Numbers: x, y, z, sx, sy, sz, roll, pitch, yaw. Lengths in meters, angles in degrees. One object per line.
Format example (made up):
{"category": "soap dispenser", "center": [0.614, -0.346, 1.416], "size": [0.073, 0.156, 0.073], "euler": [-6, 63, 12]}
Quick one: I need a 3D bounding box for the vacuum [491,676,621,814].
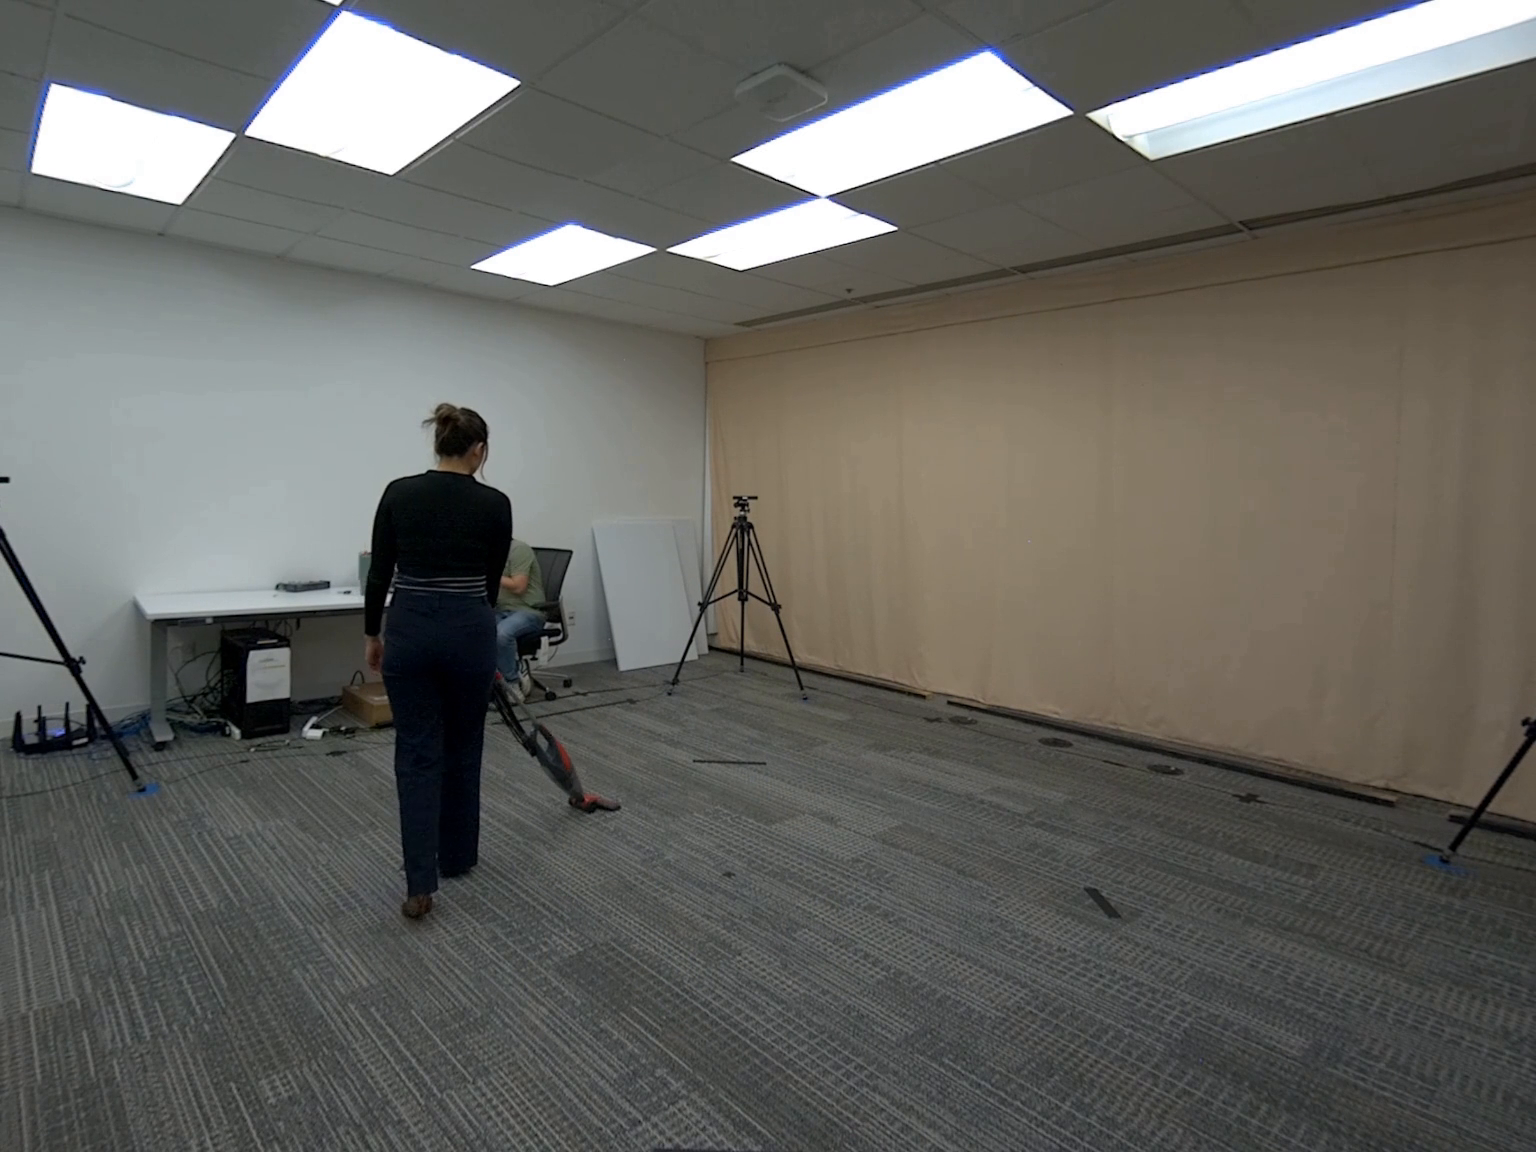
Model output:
{"category": "vacuum", "center": [-0.976, 0.651, 3.474], "size": [0.258, 1.020, 0.145], "euler": [1, 44, 32]}
